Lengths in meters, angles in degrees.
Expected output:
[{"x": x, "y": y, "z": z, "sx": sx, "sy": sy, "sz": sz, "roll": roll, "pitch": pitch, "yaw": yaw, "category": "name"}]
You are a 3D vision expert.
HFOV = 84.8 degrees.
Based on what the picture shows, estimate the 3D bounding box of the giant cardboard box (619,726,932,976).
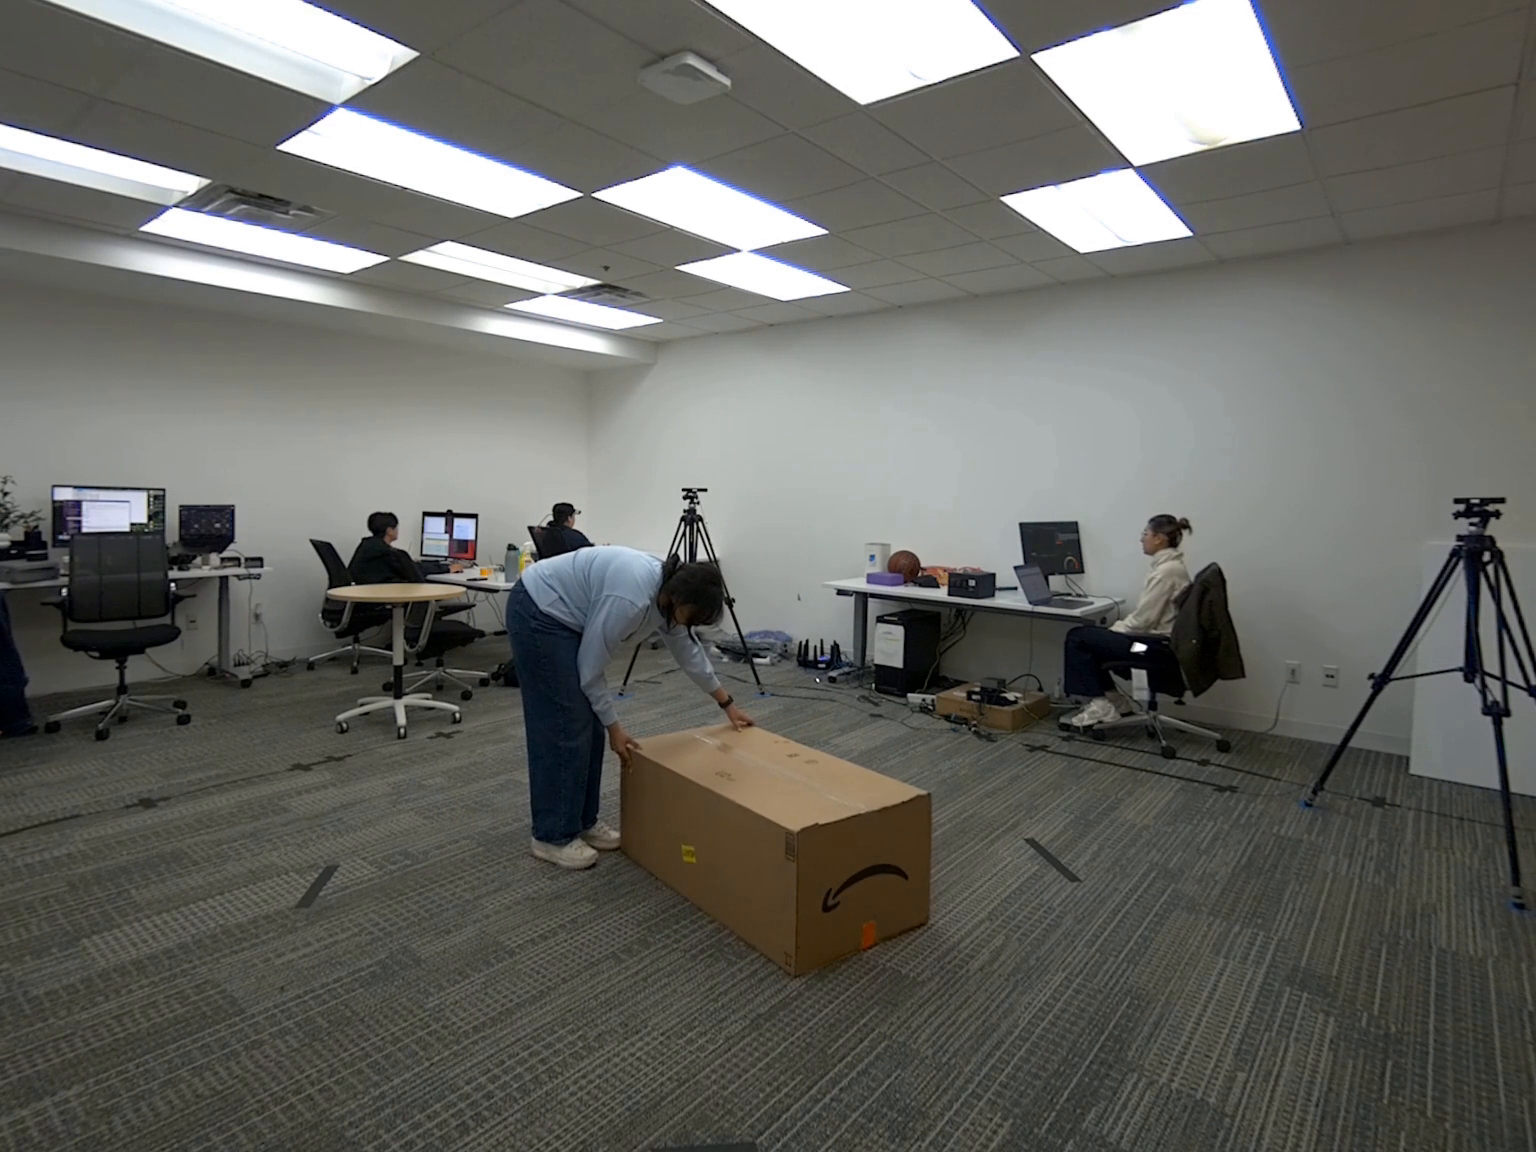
[{"x": -0.022, "y": 0.871, "z": 2.983, "sx": 0.561, "sy": 0.424, "sz": 1.060, "roll": -3, "pitch": 7, "yaw": -37, "category": "giant cardboard box"}]
